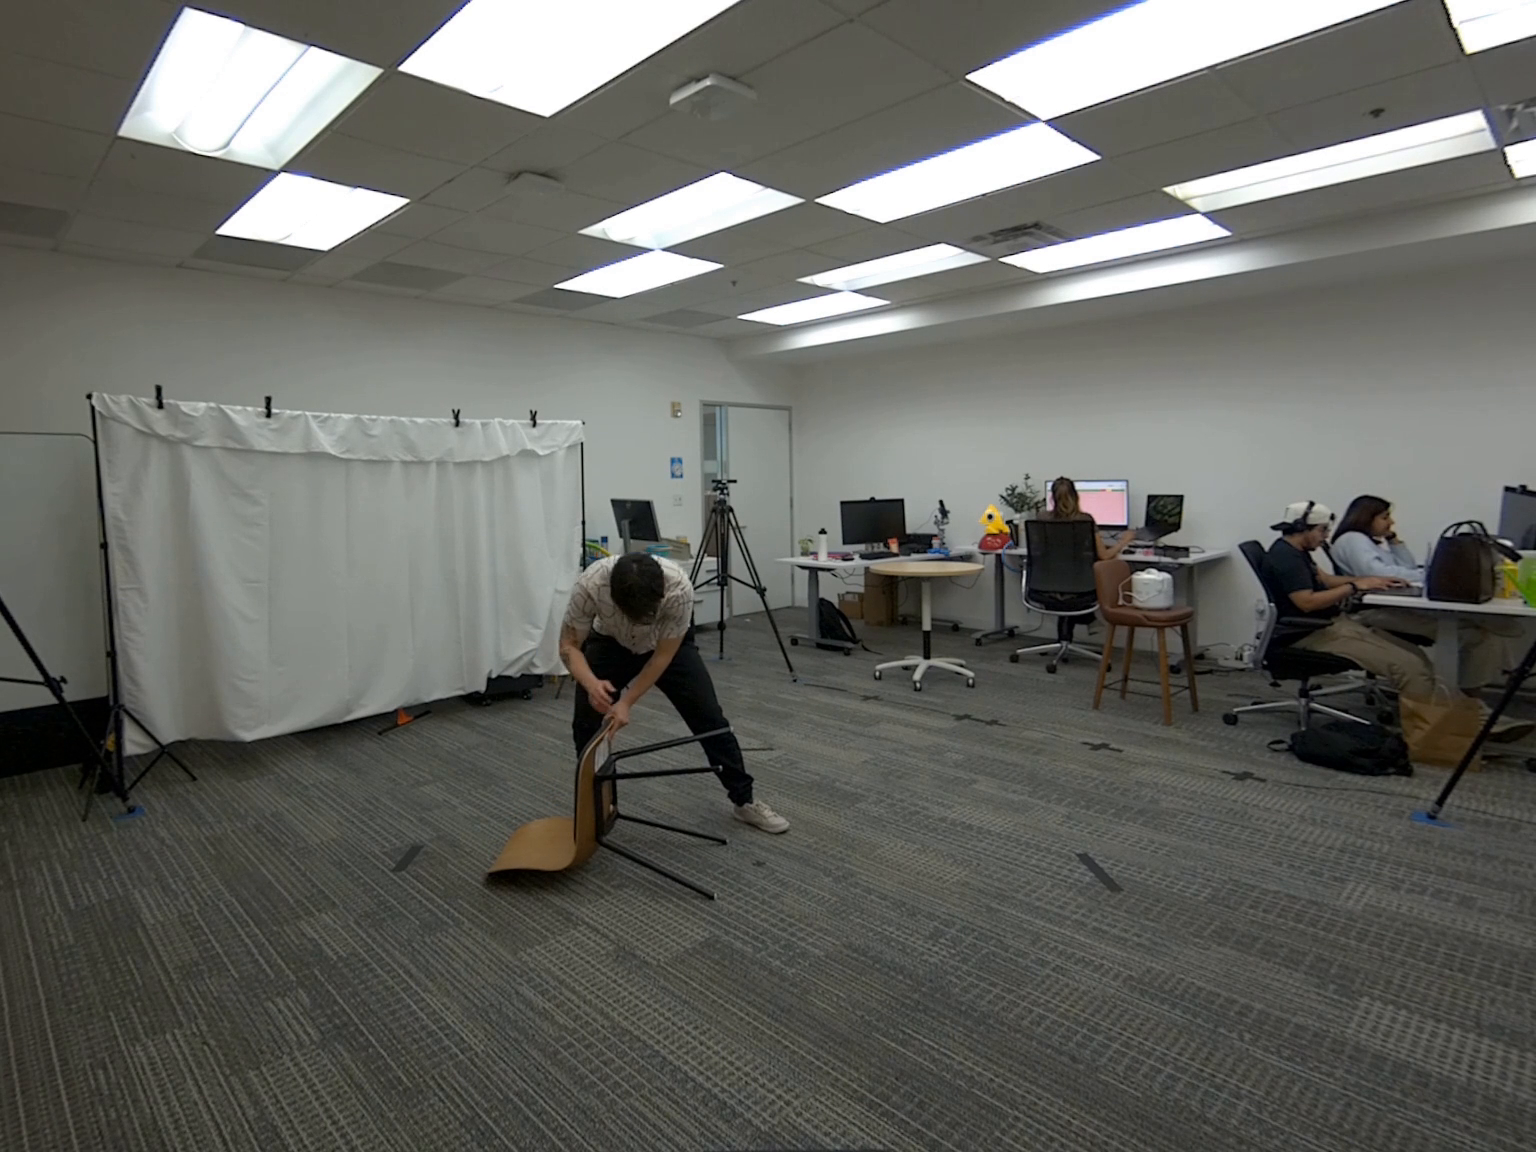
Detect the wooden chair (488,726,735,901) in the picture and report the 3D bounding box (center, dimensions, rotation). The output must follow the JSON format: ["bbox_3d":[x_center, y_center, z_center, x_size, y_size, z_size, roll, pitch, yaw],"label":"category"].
[{"bbox_3d":[-0.585,0.803,3.095,0.882,0.521,0.478,-2,5,5],"label":"wooden chair"}]
